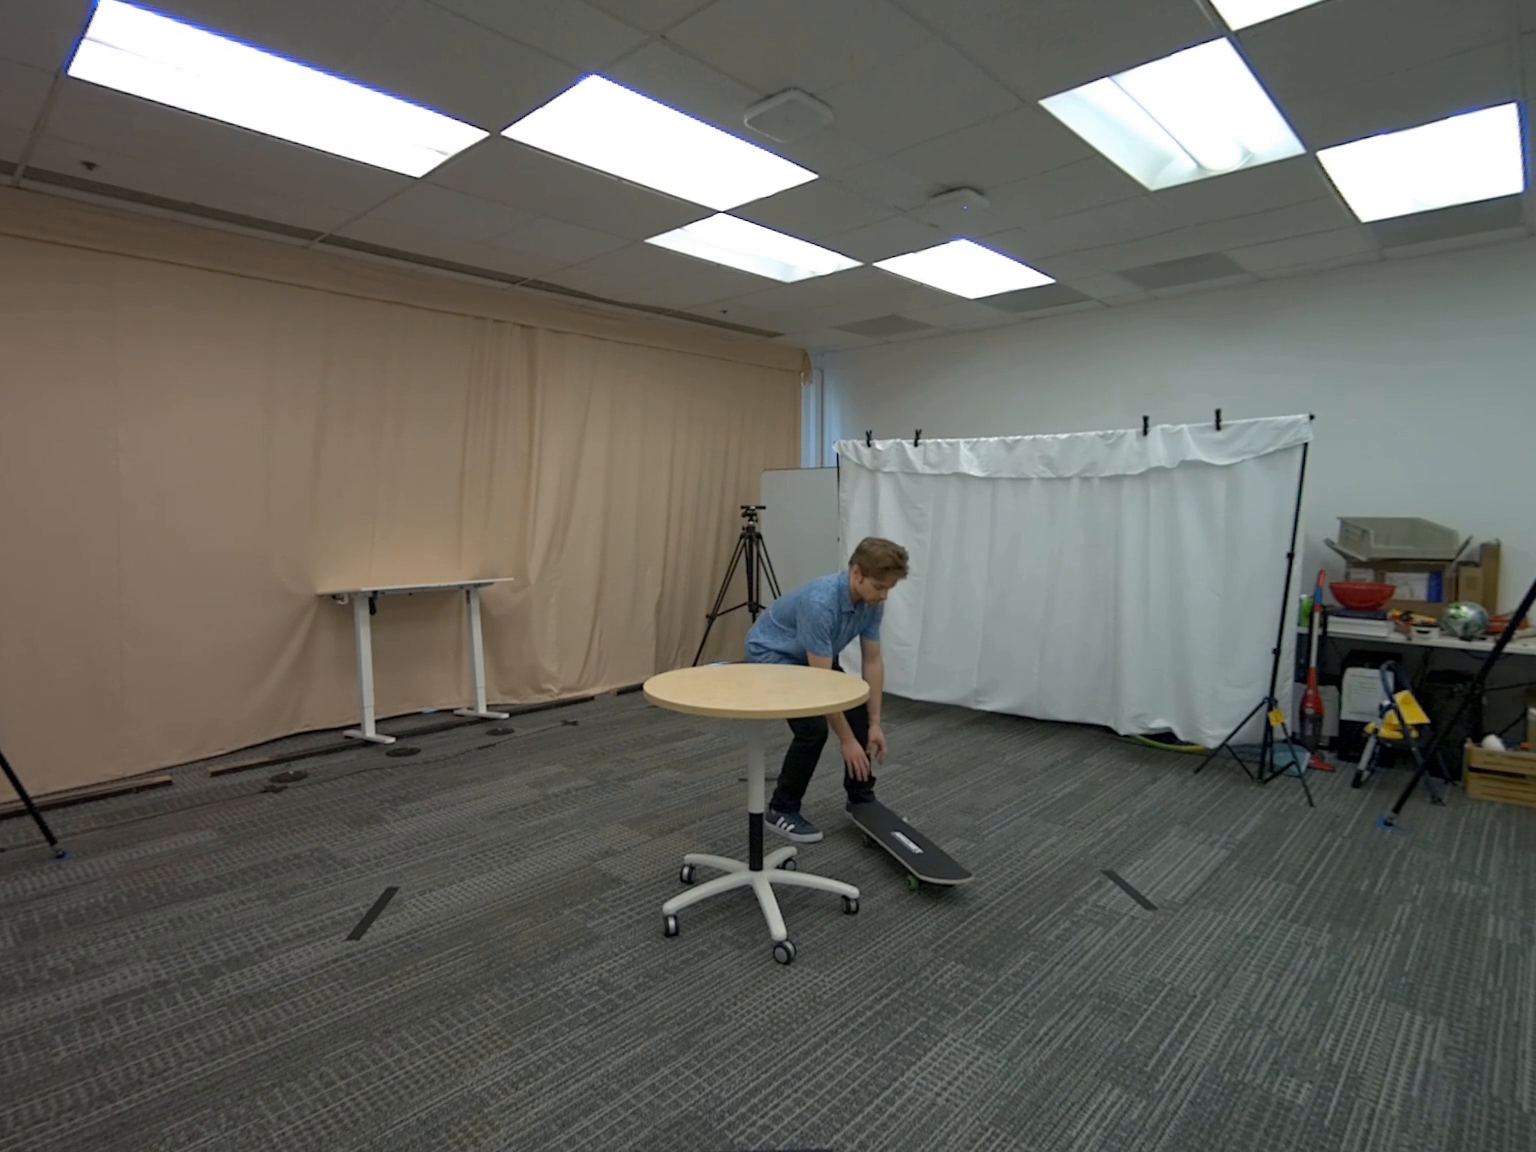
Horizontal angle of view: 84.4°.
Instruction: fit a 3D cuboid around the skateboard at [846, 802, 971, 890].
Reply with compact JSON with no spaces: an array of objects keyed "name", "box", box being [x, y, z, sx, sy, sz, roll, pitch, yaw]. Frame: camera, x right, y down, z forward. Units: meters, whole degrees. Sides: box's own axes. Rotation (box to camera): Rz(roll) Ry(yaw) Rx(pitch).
[{"name":"skateboard","box":[0.544,1.065,3.263,0.190,0.110,0.799,-1,4,-16]}]
